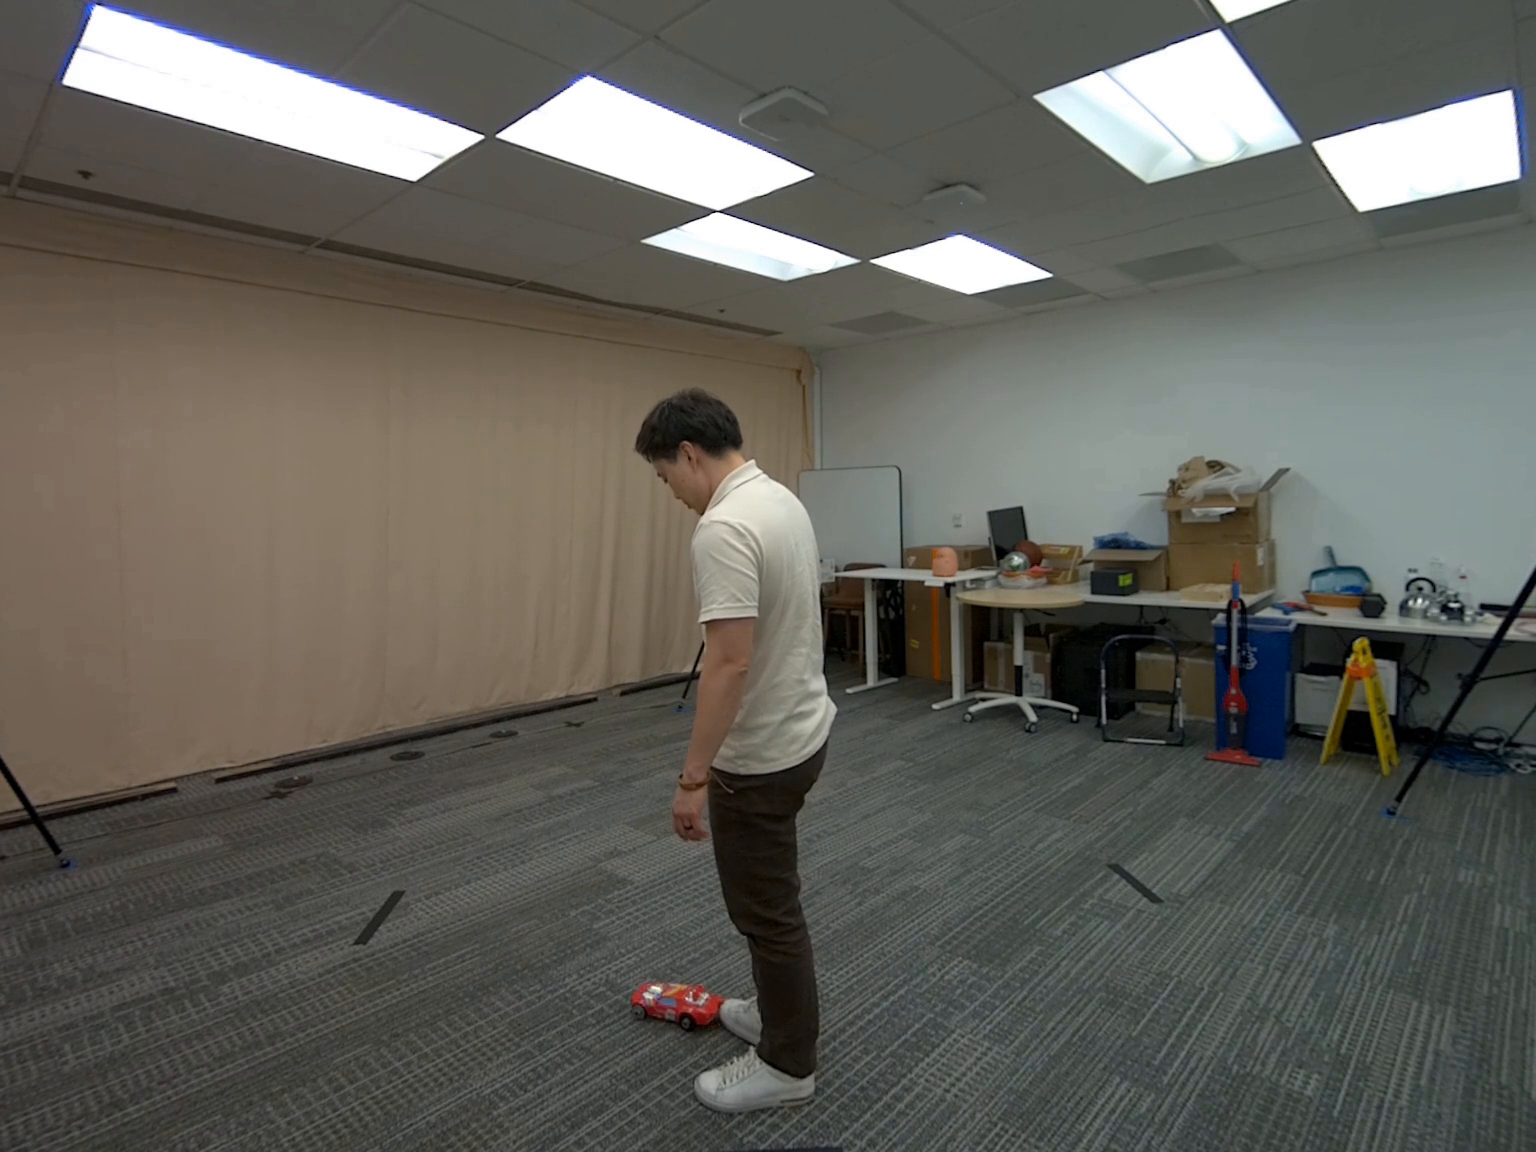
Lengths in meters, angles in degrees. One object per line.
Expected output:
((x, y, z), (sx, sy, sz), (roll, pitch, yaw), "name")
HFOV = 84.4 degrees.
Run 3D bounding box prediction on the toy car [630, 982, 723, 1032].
((-0.239, 1.172, 2.294), (0.260, 0.083, 0.128), (-11, 0, 23), "toy car")
